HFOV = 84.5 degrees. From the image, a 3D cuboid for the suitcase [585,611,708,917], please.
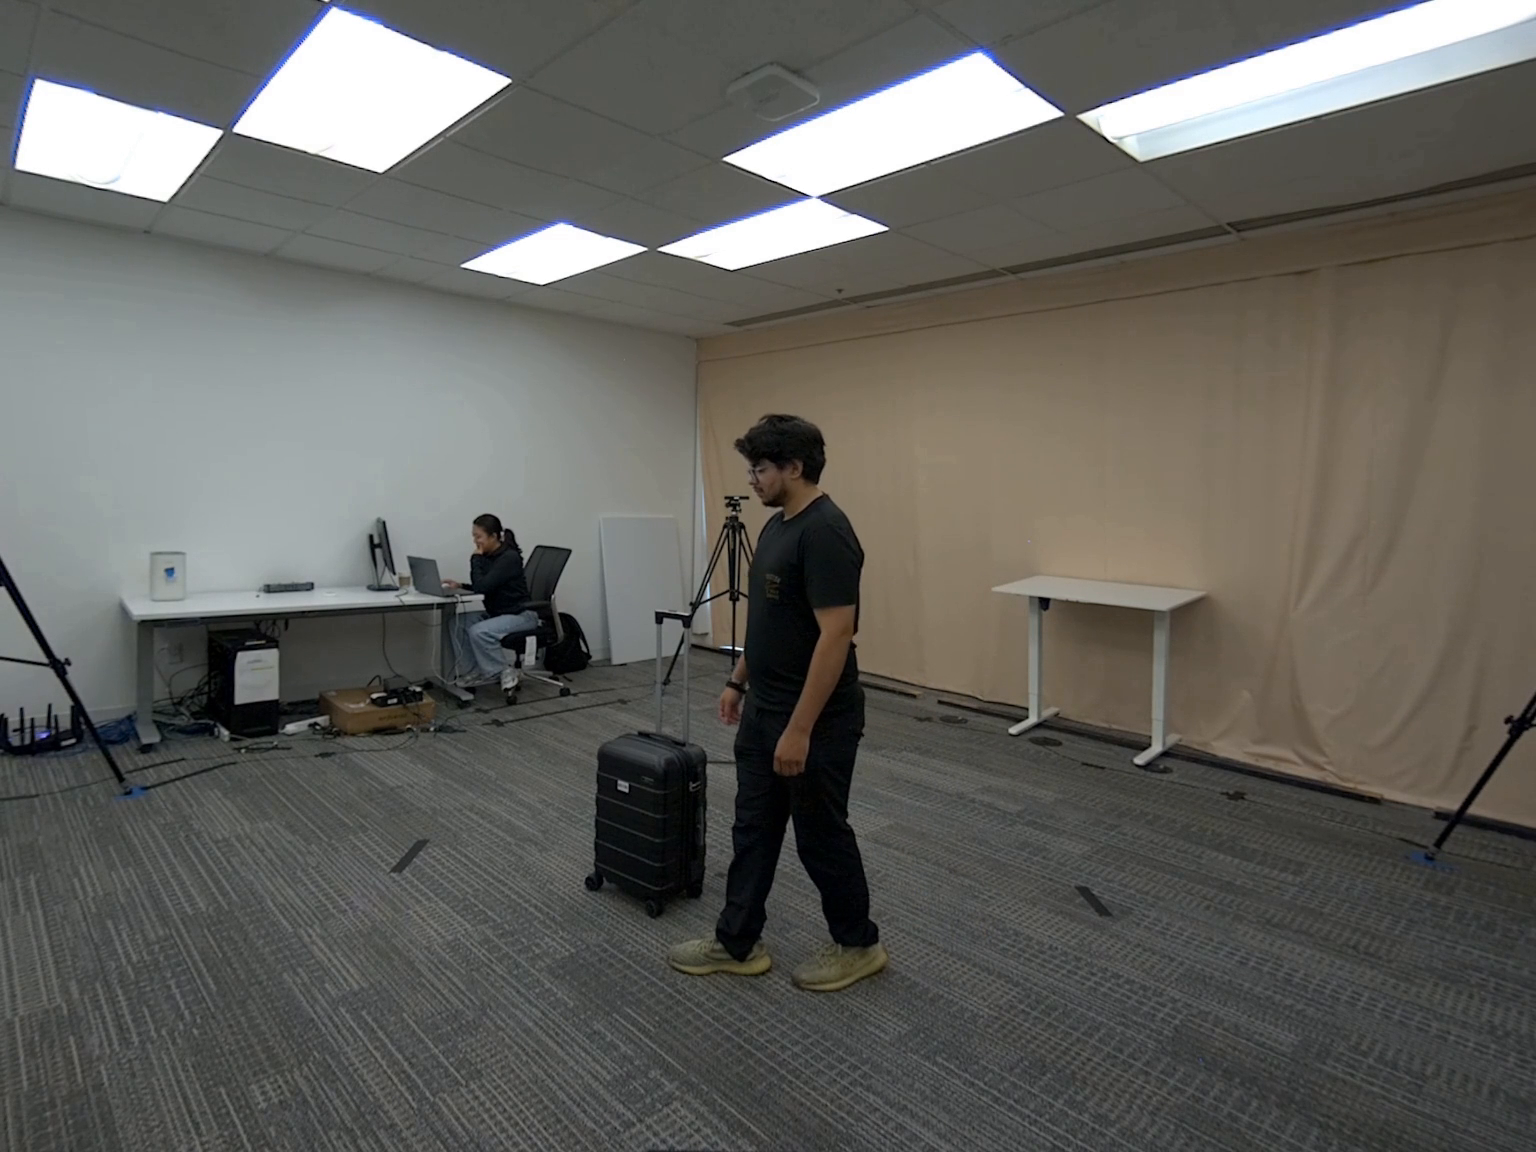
[{"bbox_3d":[-0.413,0.637,2.919,0.393,0.975,0.251,5,6,37],"label":"suitcase"}]
